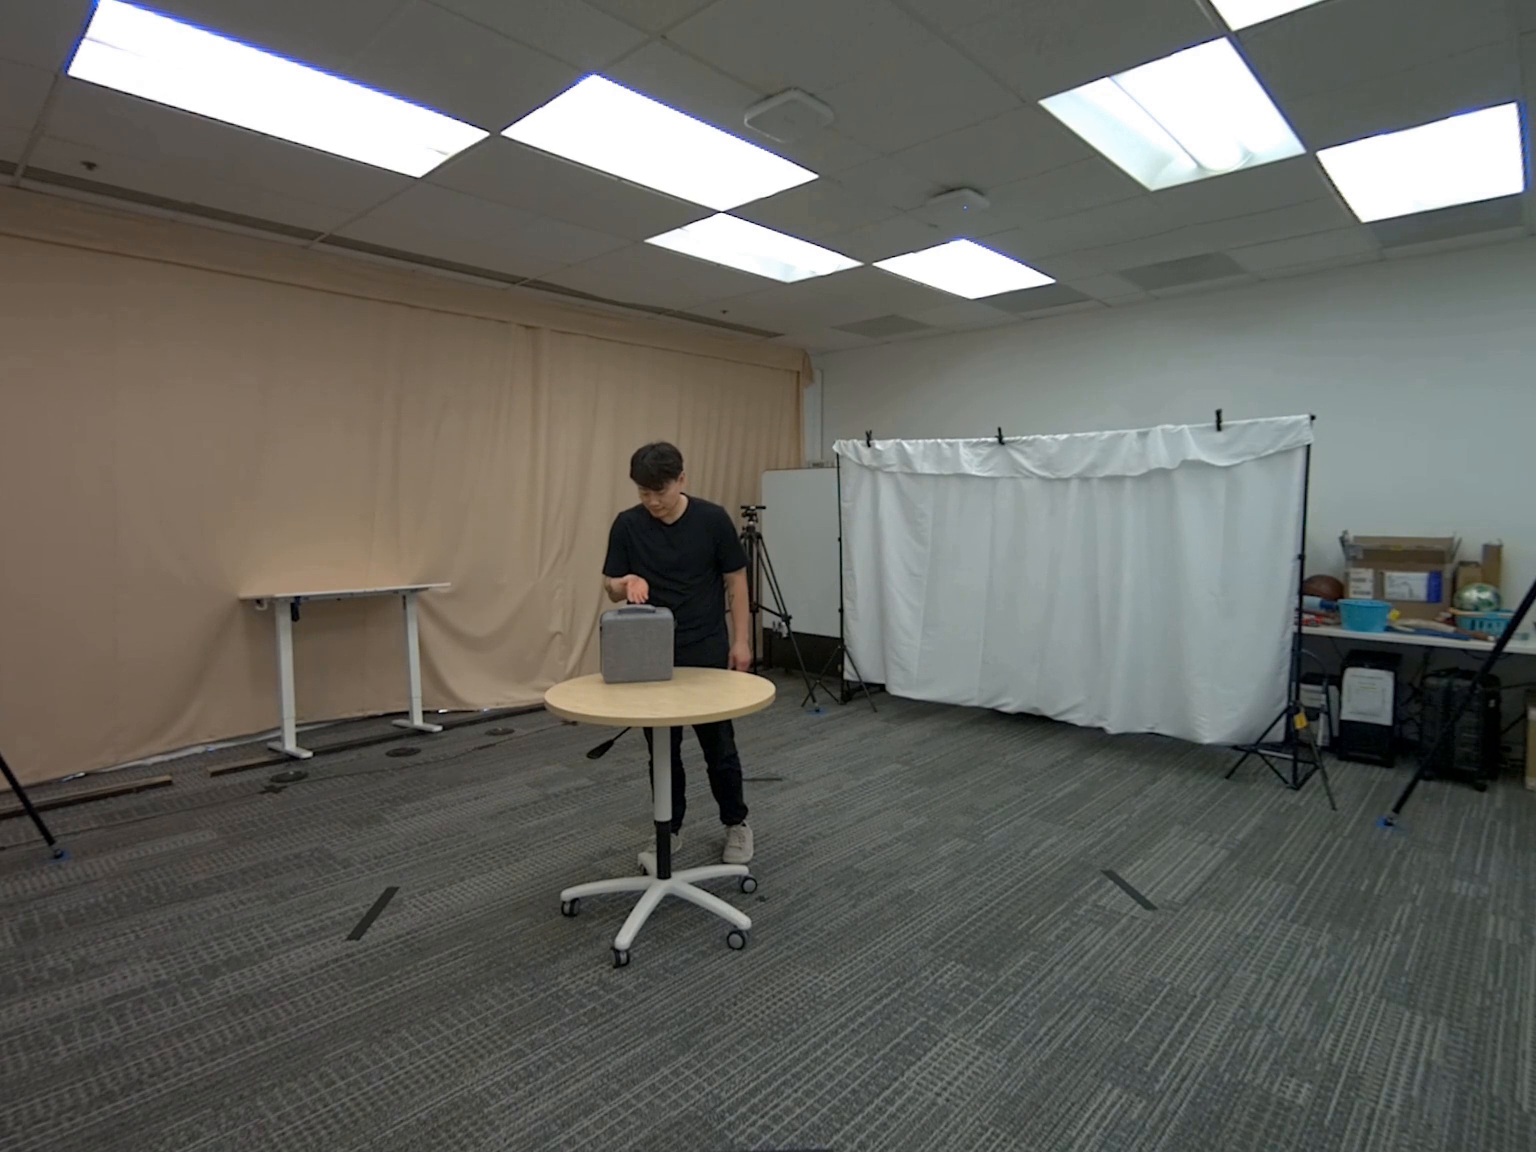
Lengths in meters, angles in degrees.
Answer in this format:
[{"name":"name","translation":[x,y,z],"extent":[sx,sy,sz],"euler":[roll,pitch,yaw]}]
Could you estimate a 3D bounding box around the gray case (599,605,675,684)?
[{"name":"gray case","translation":[-0.459,0.239,2.945],"extent":[0.254,0.258,0.106],"euler":[-2,14,-10]}]
